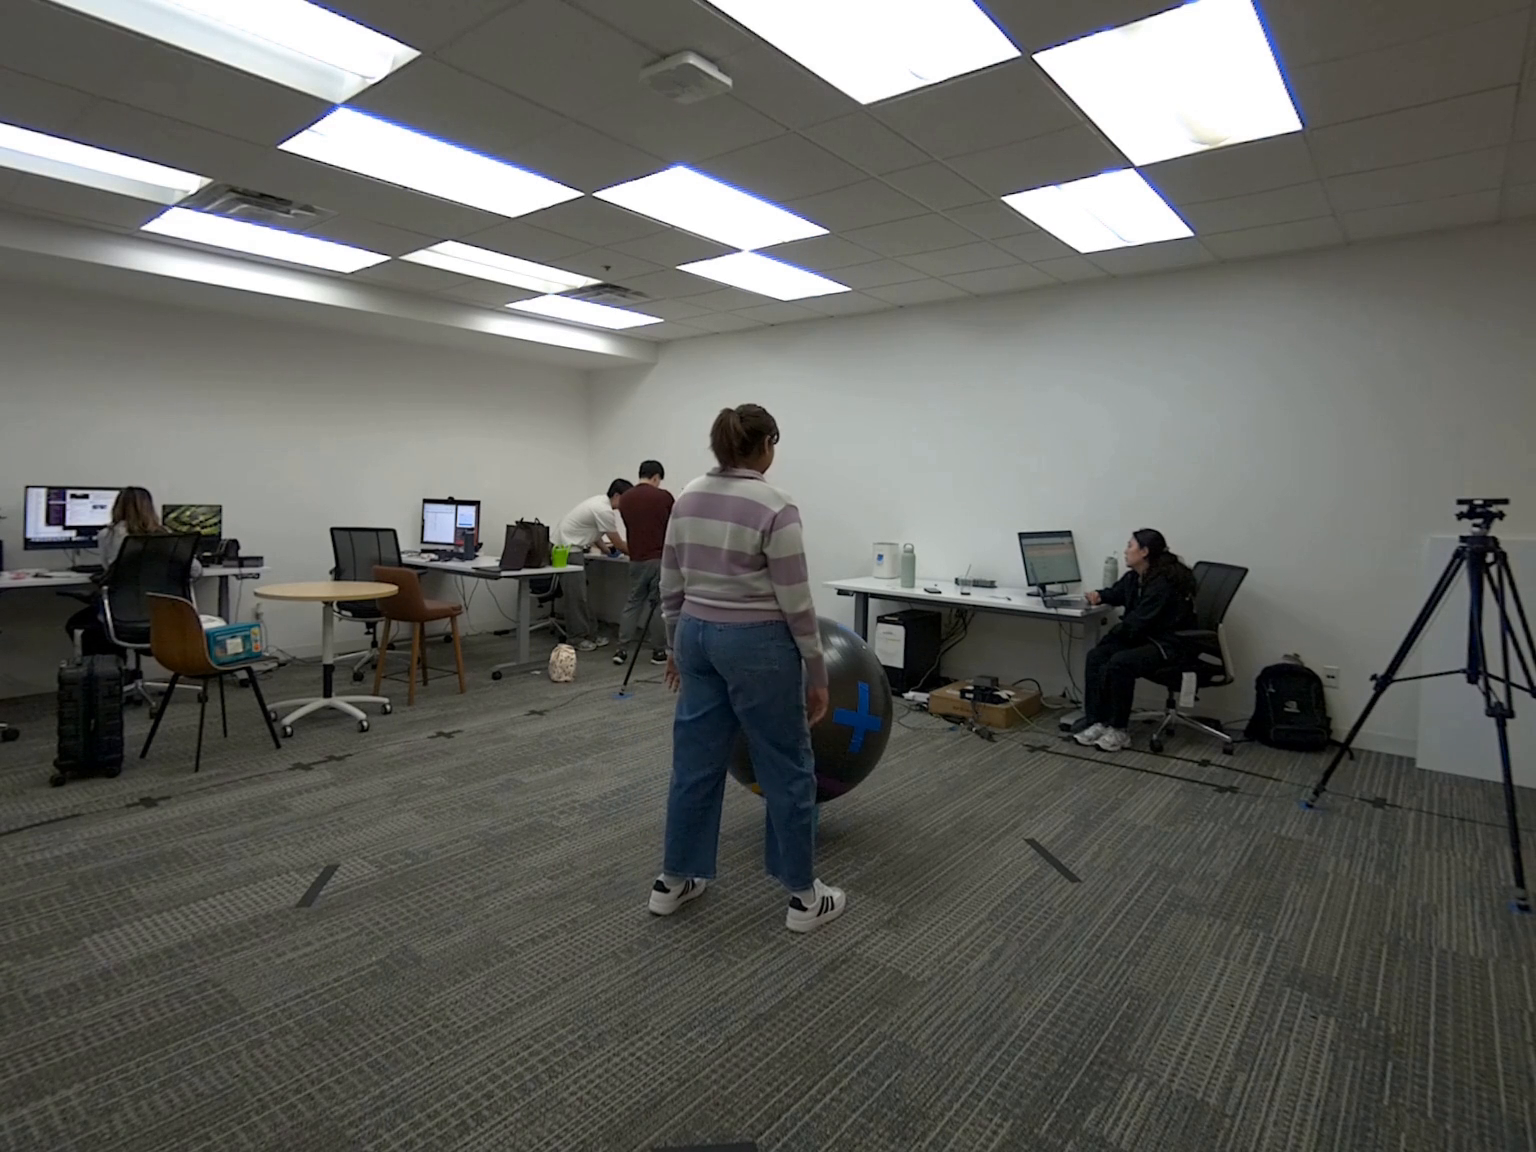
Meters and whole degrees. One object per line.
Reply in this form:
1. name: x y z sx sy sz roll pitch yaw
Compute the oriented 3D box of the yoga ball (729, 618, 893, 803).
1. yoga ball: 0.131 0.534 3.454 0.757 0.756 0.761 1 4 -2
